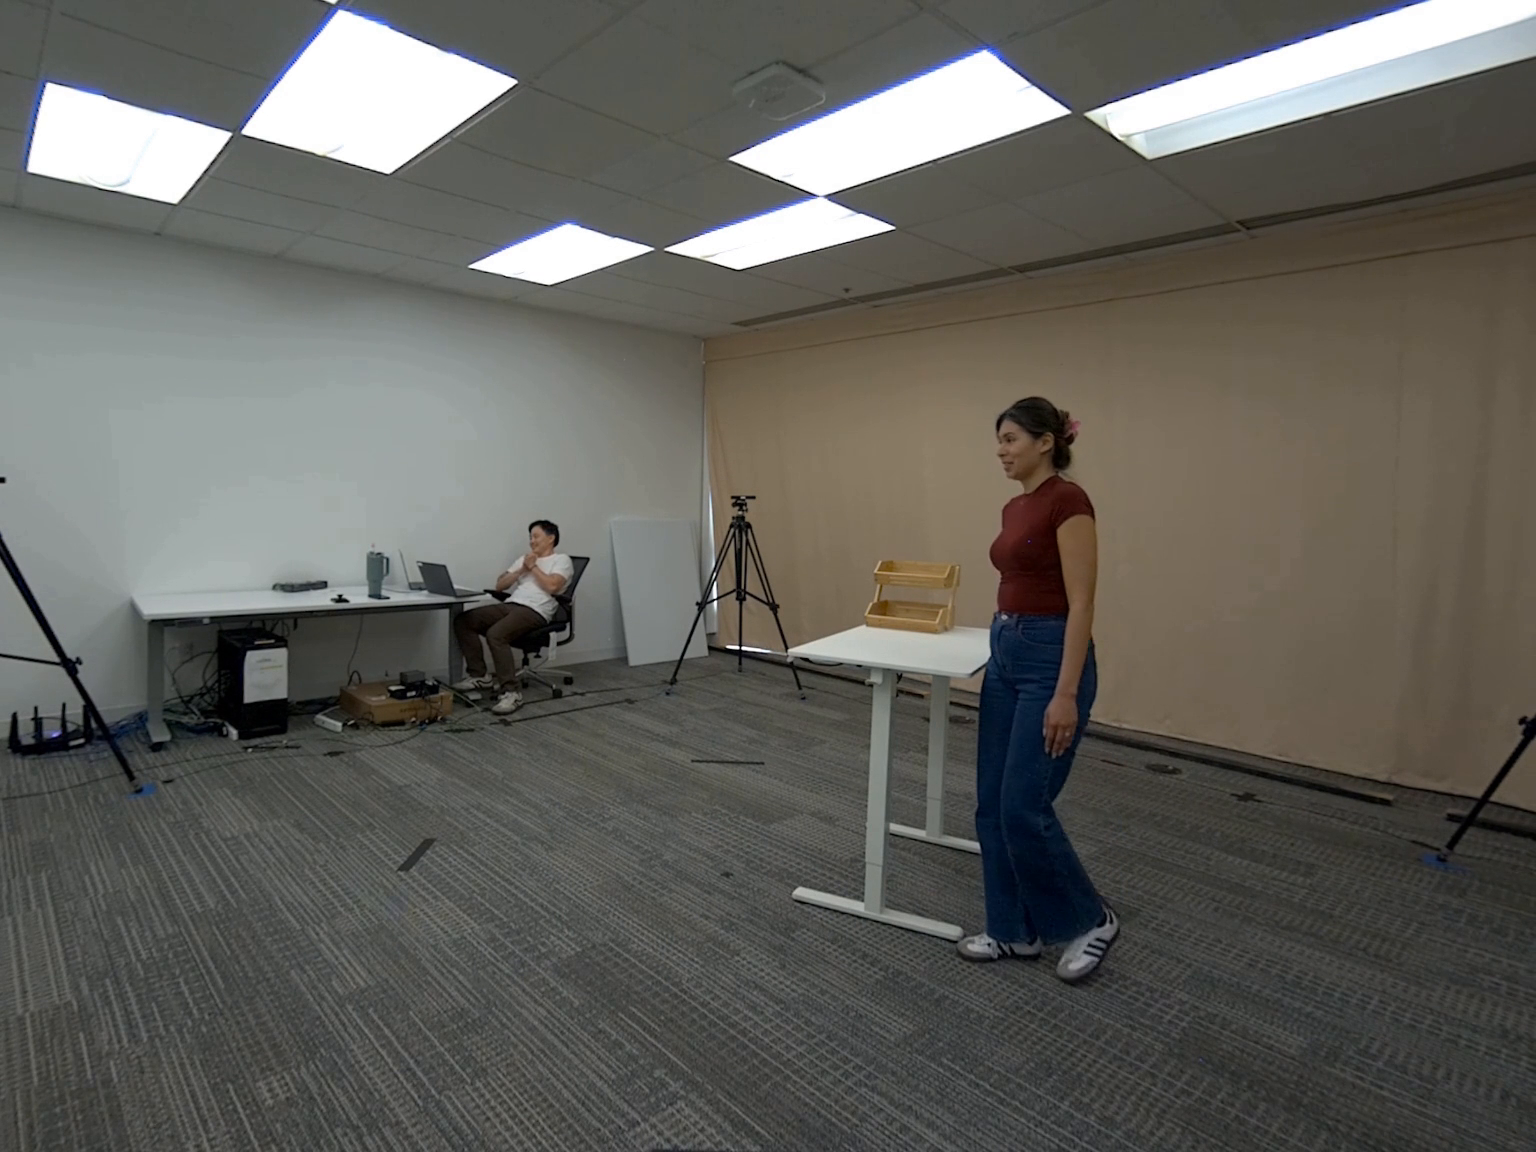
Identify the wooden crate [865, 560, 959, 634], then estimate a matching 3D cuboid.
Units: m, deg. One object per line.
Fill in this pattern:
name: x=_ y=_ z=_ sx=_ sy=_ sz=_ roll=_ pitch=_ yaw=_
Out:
wooden crate: x=0.593 y=0.076 z=3.462 sx=0.331 sy=0.272 sz=0.296 roll=5 pitch=5 yaw=28
